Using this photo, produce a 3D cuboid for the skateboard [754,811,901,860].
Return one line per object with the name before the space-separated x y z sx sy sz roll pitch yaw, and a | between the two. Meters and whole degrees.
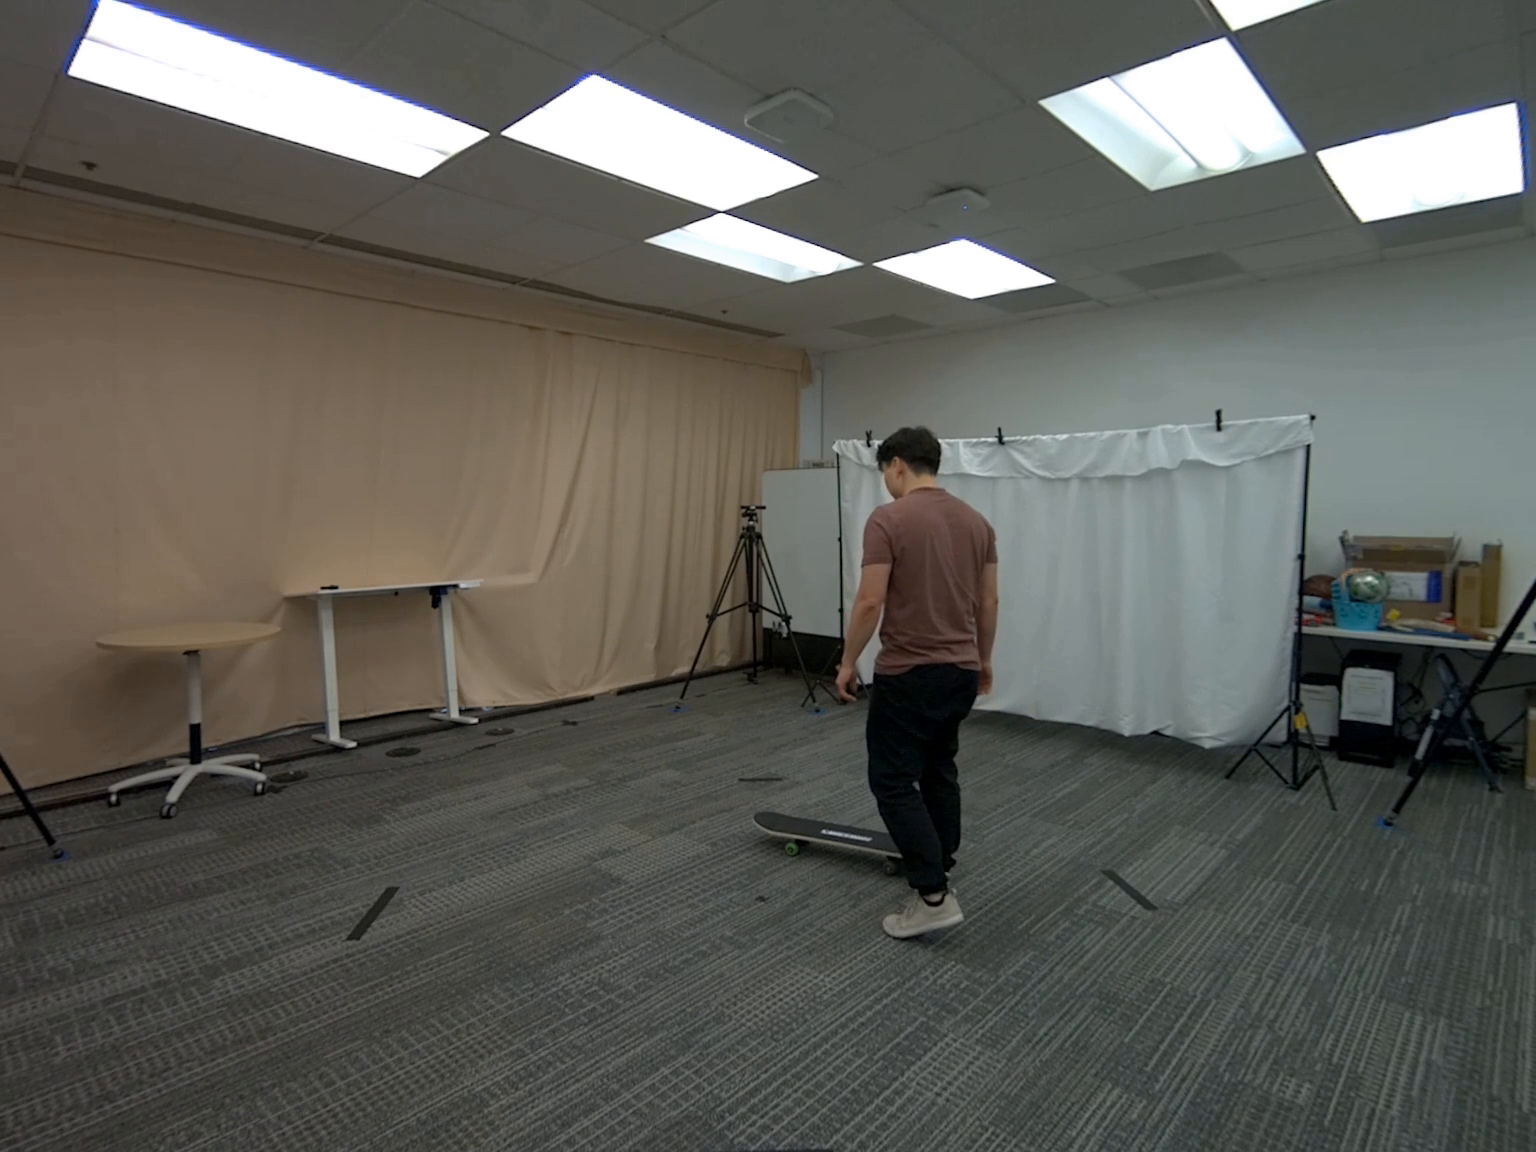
skateboard | 0.311 1.053 3.327 0.806 0.110 0.189 2 5 26
